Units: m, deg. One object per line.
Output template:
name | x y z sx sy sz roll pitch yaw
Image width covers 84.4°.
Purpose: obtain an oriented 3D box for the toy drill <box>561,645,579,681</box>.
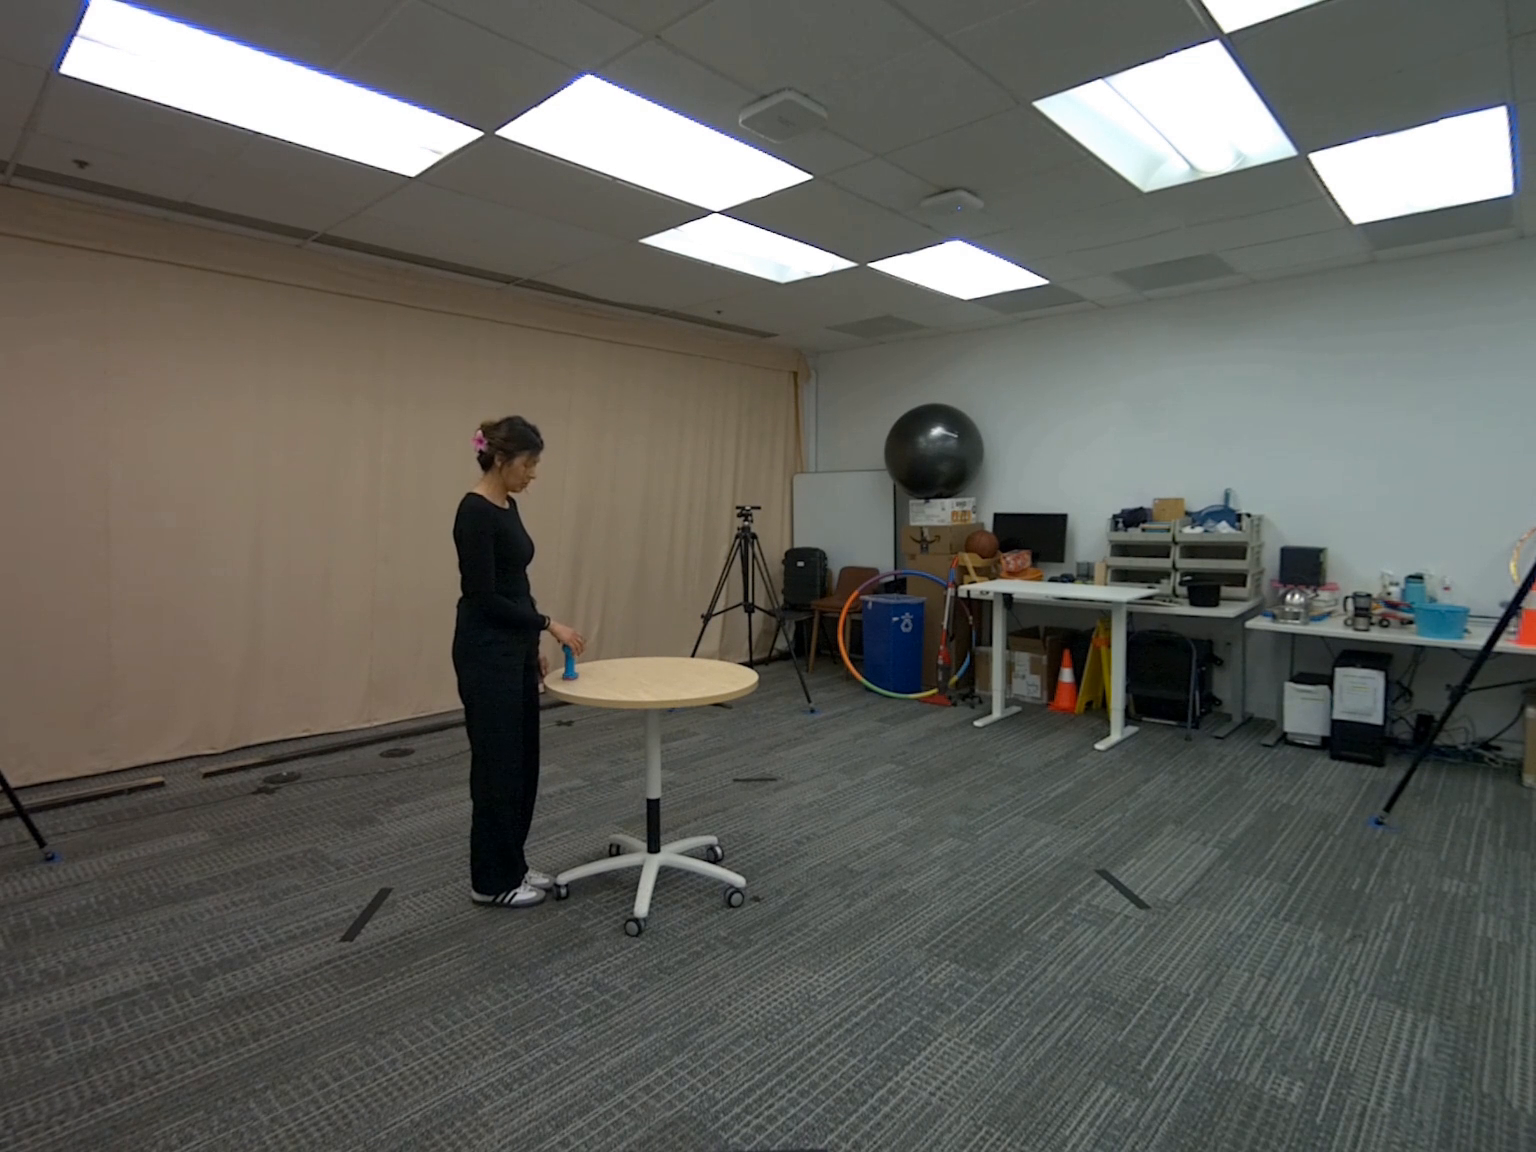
toy drill | -0.700 0.291 3.015 0.061 0.146 0.169 -4 4 4
